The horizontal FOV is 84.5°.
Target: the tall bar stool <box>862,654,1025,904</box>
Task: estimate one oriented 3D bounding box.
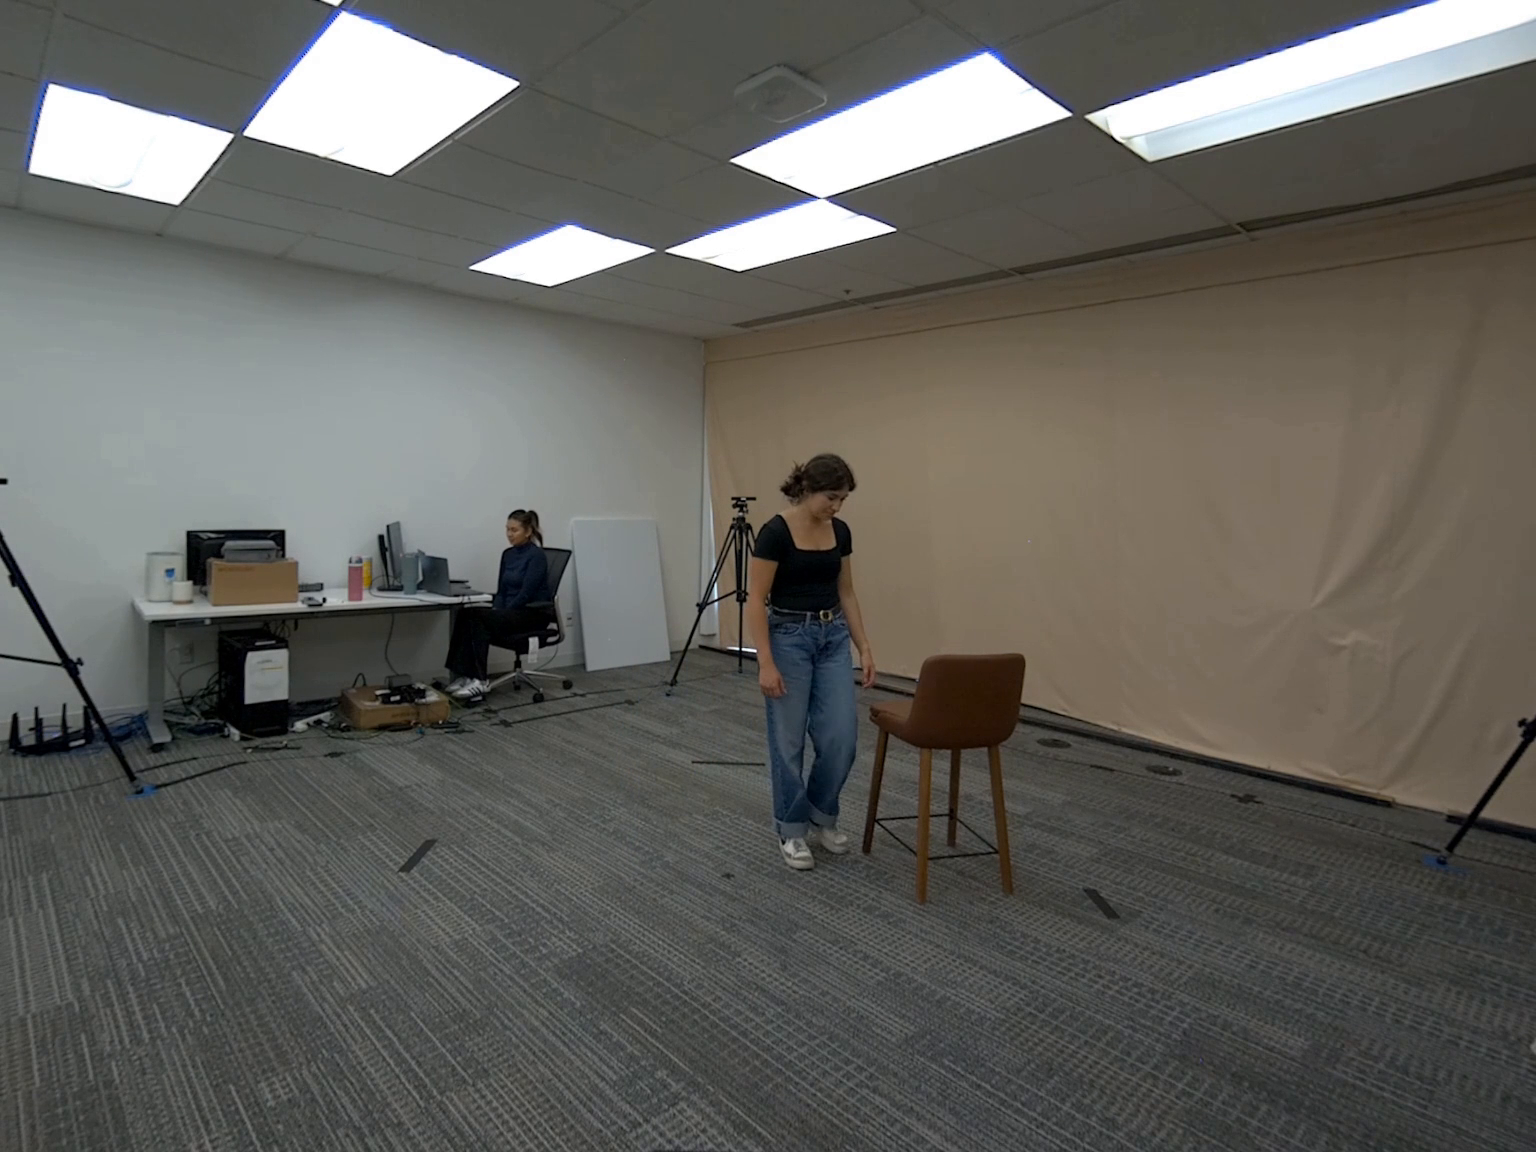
[{"bbox_3d":[0.642,0.683,3.156,0.450,0.886,0.475,1,5,-17],"label":"tall bar stool"}]
